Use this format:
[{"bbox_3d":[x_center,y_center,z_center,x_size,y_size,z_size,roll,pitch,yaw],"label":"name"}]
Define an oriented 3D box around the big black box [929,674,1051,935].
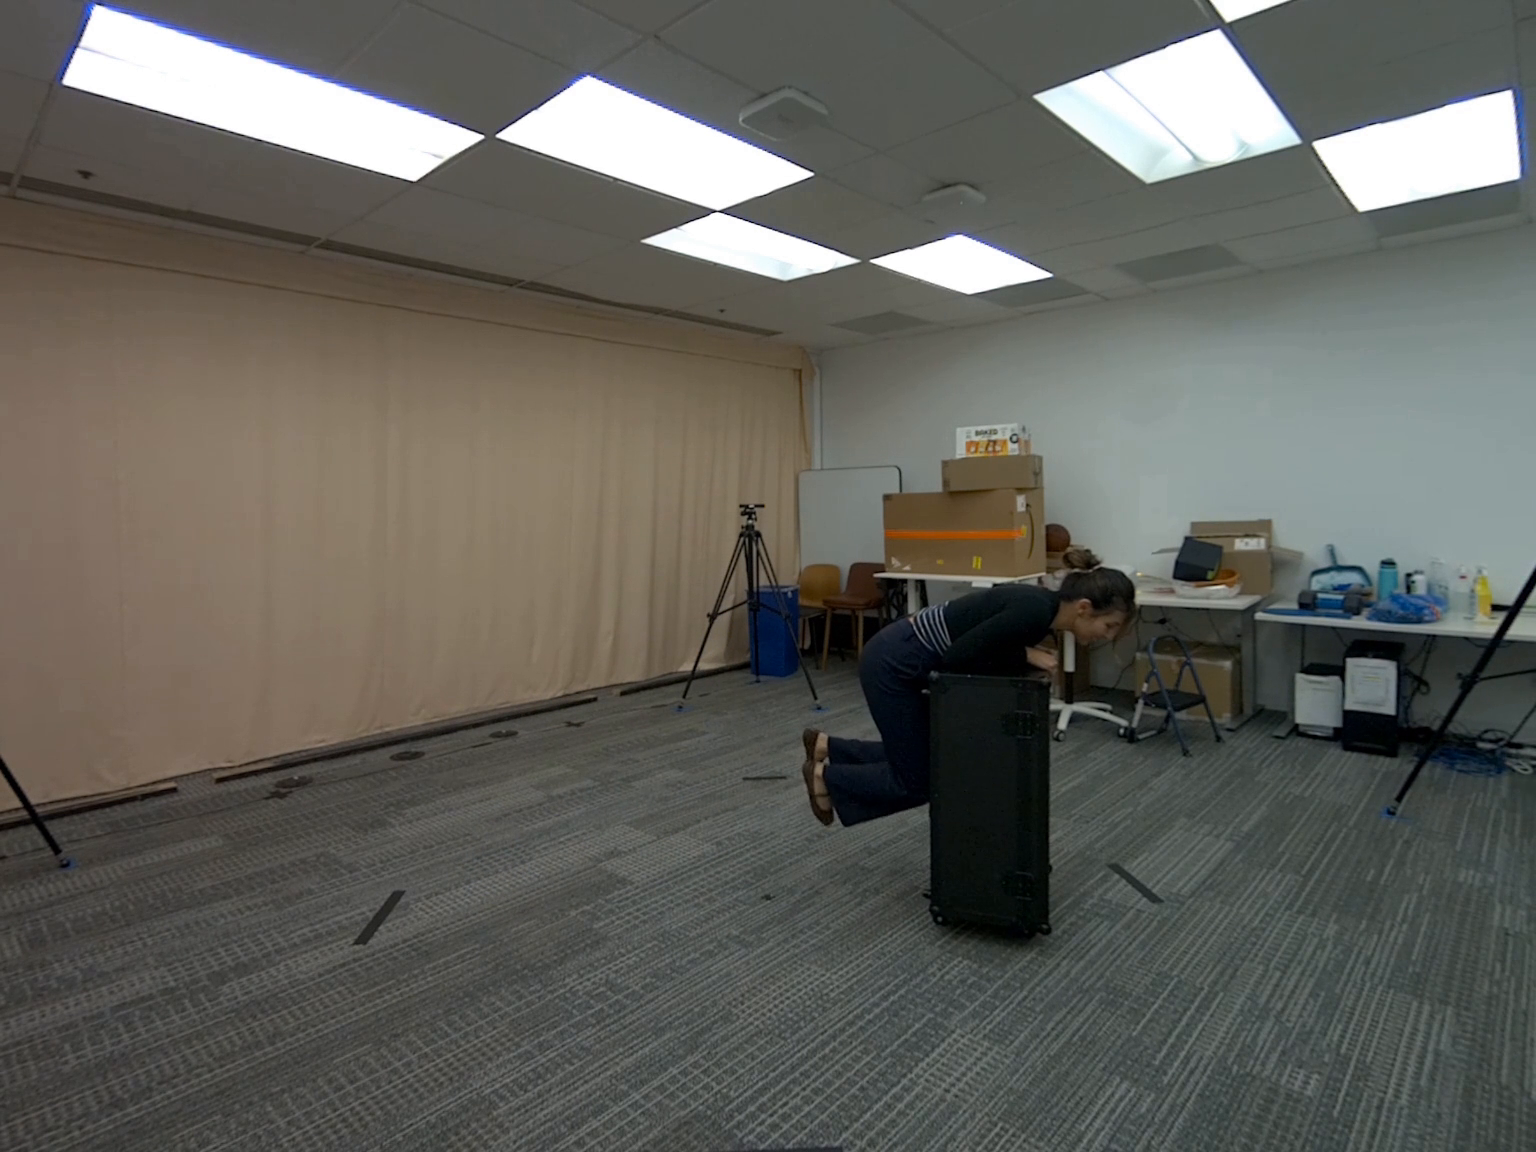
[{"bbox_3d":[0.751,0.718,2.820,0.405,0.859,0.511,-1,4,20],"label":"big black box"}]
